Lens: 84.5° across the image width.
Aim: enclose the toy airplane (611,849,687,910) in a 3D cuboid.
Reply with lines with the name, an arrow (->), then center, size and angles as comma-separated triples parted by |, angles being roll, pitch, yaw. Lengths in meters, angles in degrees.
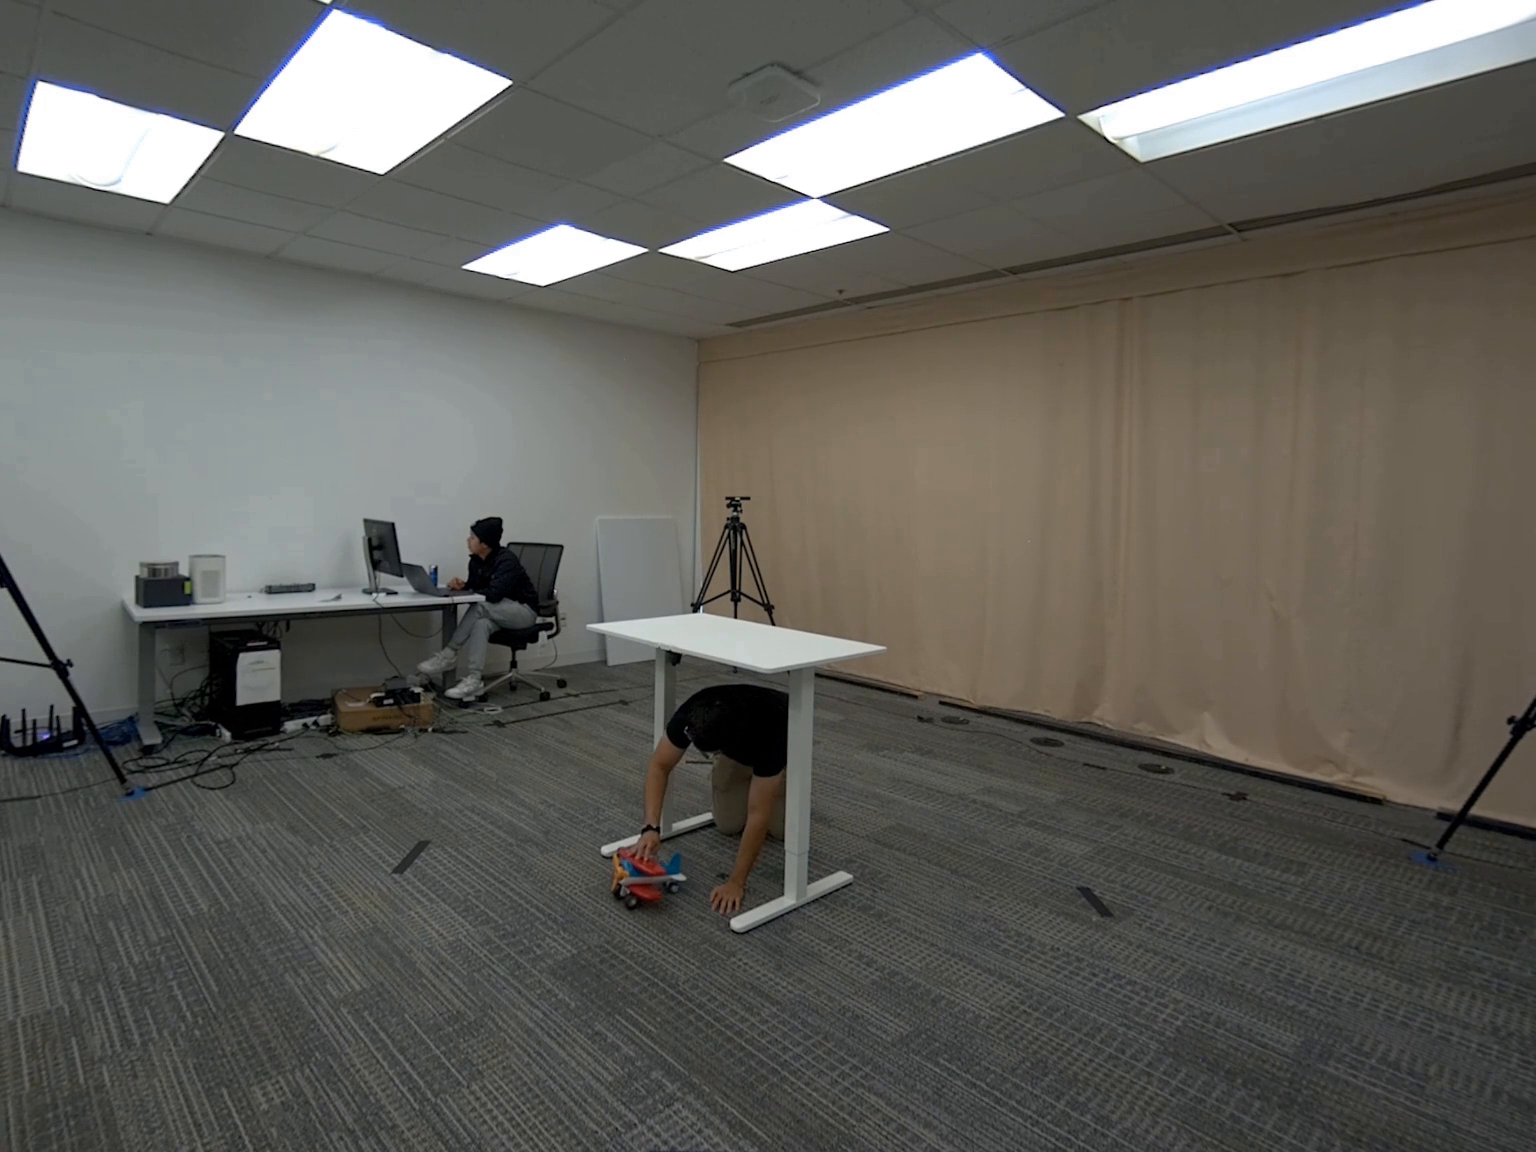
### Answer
toy airplane -> -0.434, 1.036, 2.932 | 0.256, 0.156, 0.255 | 4, 7, 26
